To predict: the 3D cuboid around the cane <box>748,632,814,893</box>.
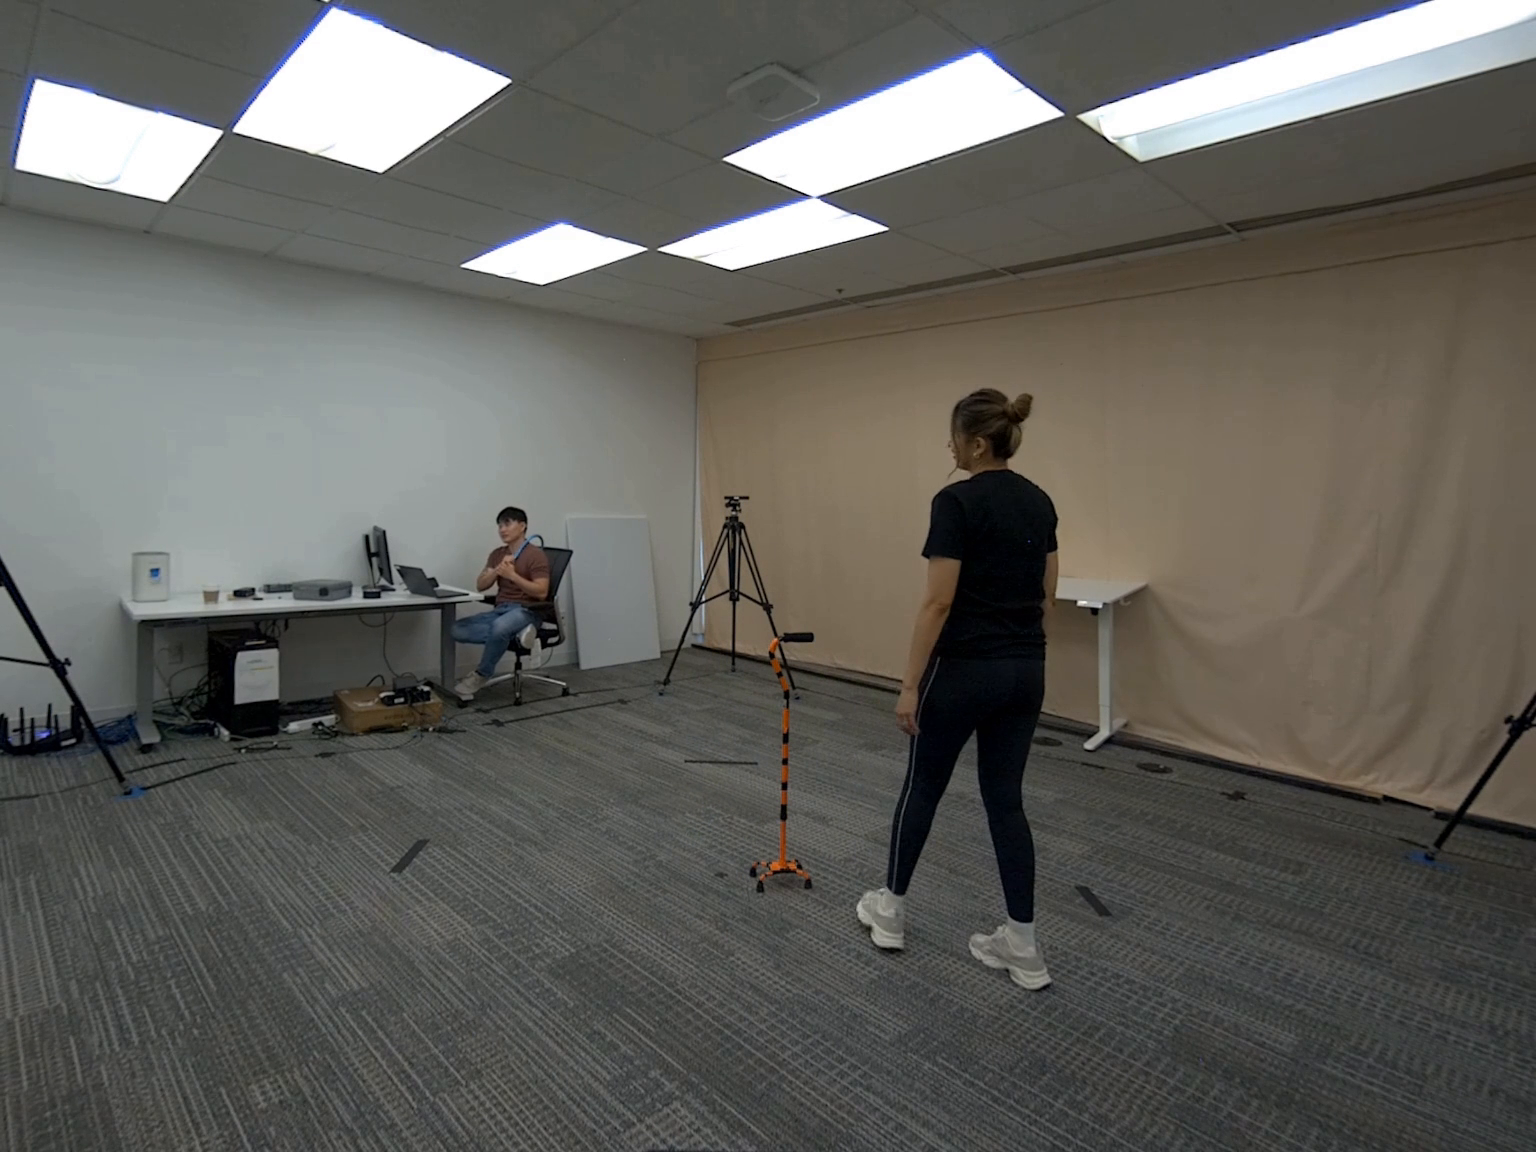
[{"bbox_3d":[0.053,0.661,3.032,0.204,0.906,0.153,1,3,-13],"label":"cane"}]
